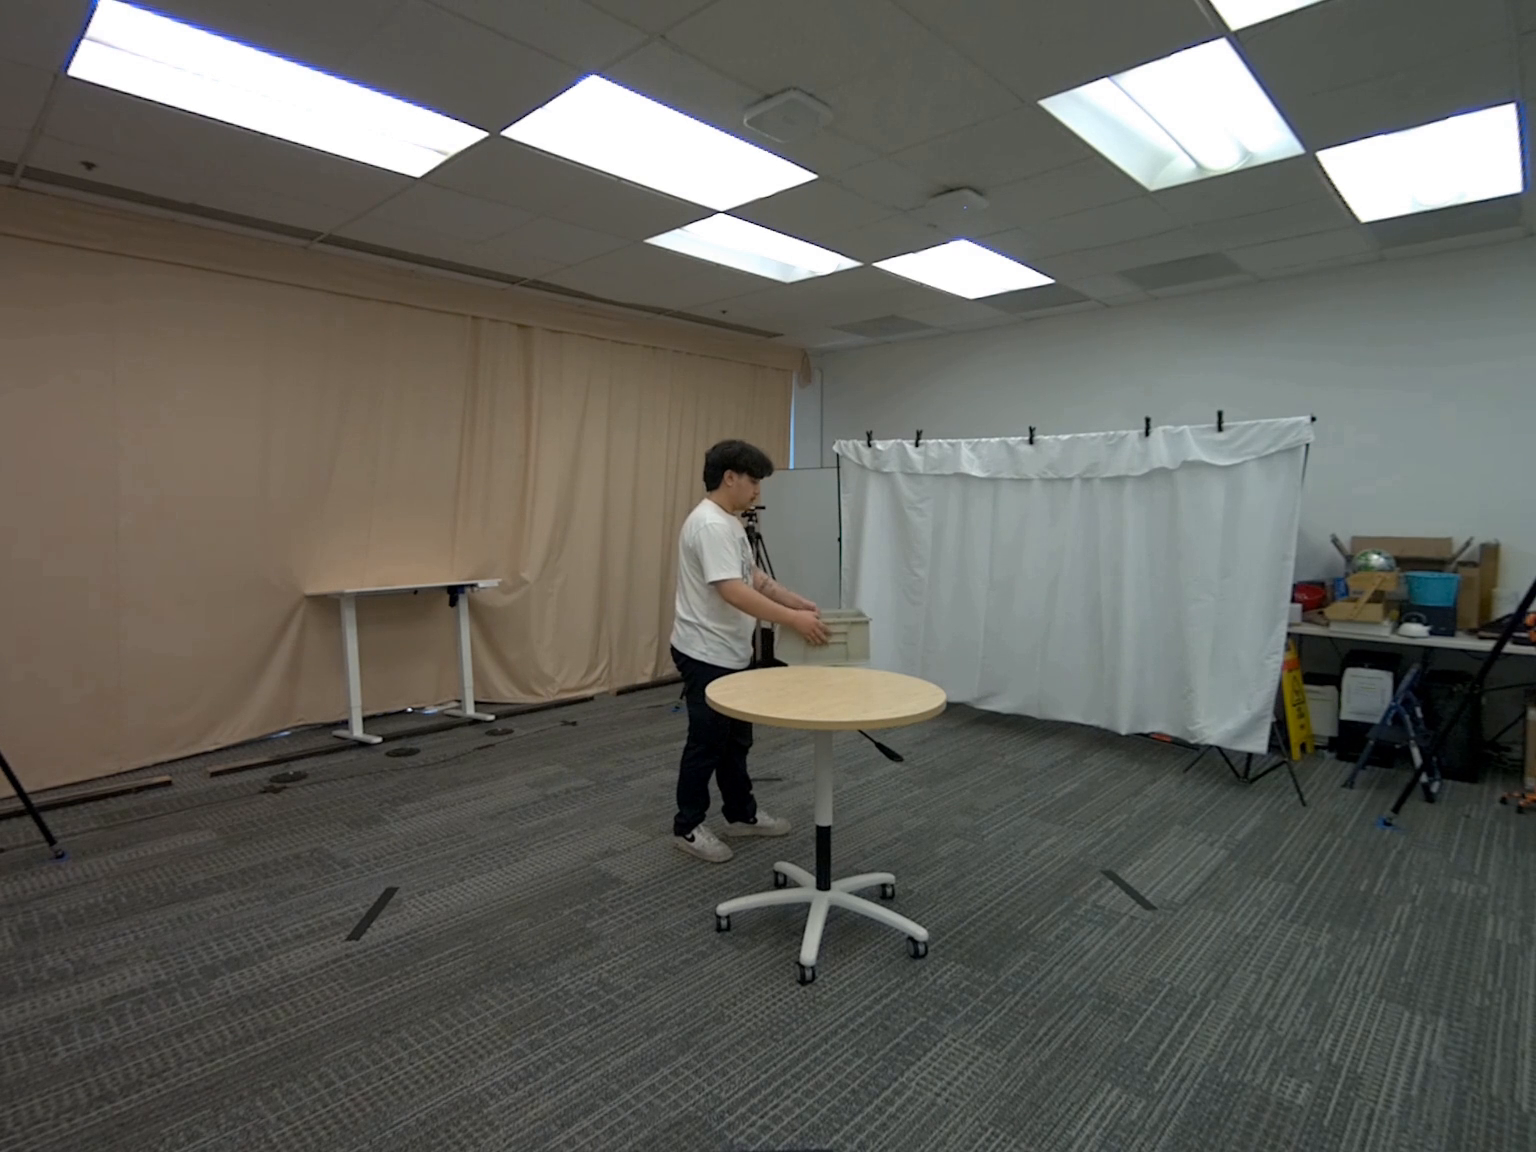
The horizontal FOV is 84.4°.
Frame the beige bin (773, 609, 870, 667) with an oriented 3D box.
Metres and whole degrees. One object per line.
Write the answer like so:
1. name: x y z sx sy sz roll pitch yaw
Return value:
1. beige bin: 0.210 0.257 3.435 0.380 0.189 0.419 1 -2 5
